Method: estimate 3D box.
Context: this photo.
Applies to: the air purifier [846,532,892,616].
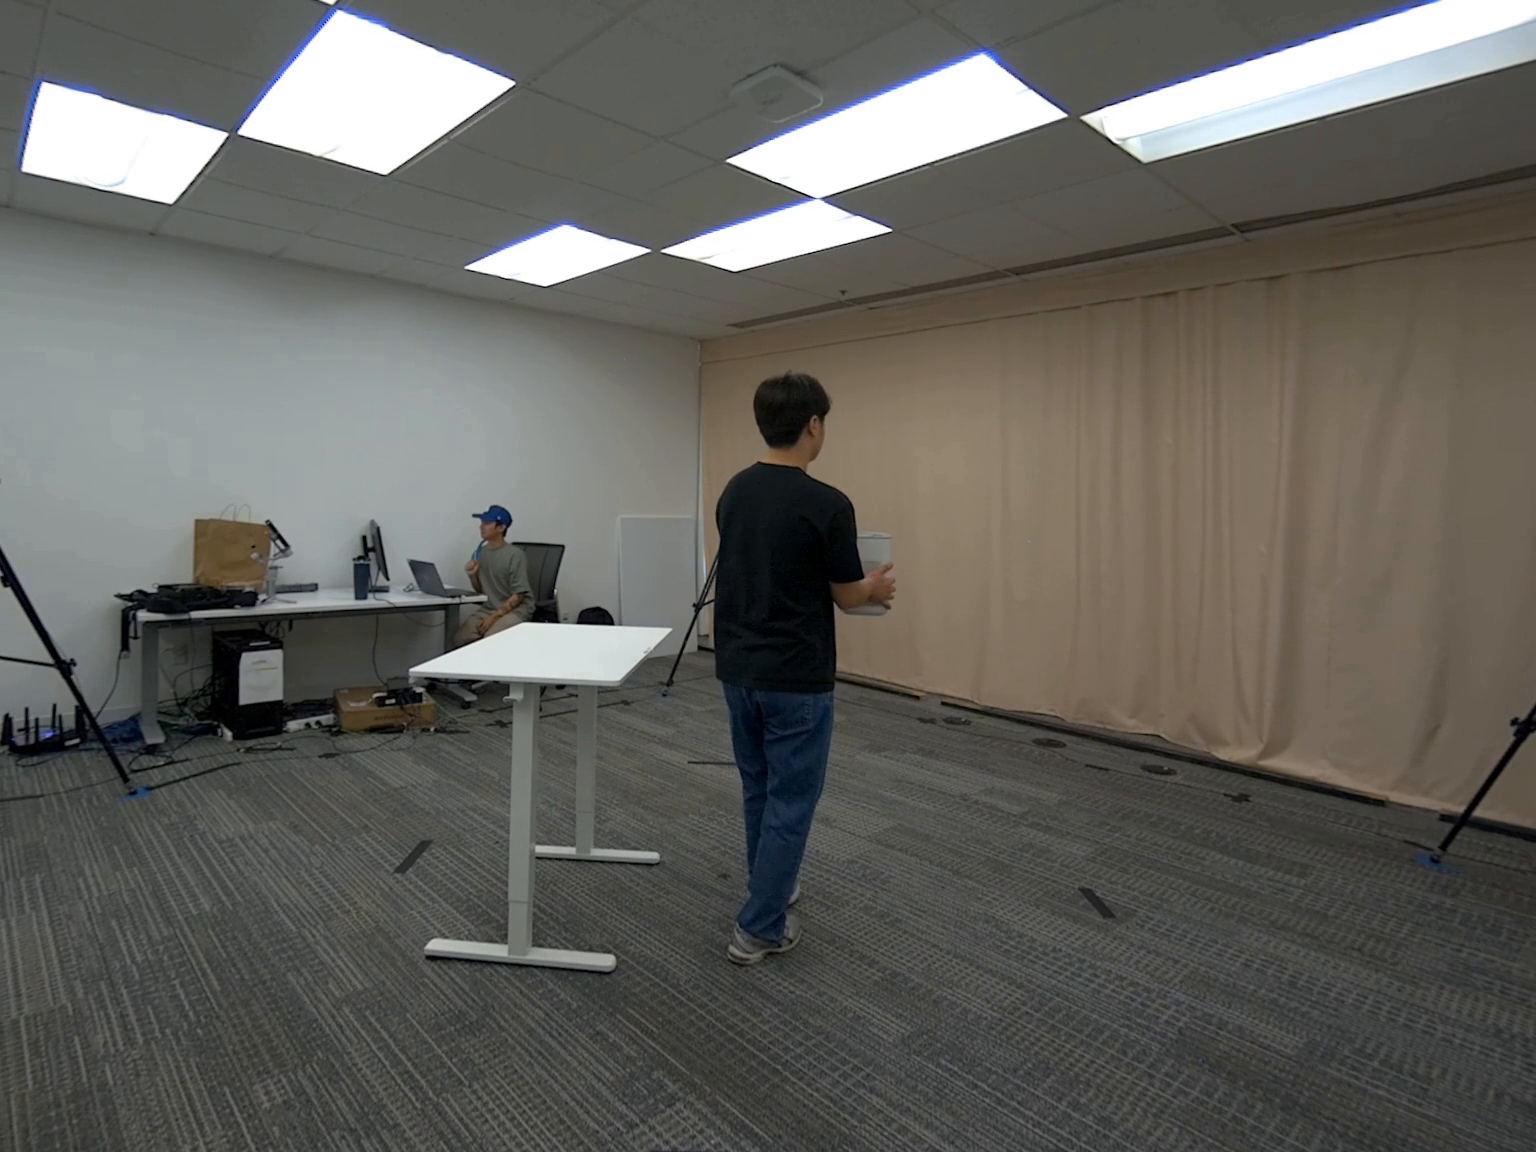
[{"bbox_3d":[0.314,-0.007,2.831,0.171,0.265,0.172,0,3,-3],"label":"air purifier"}]
